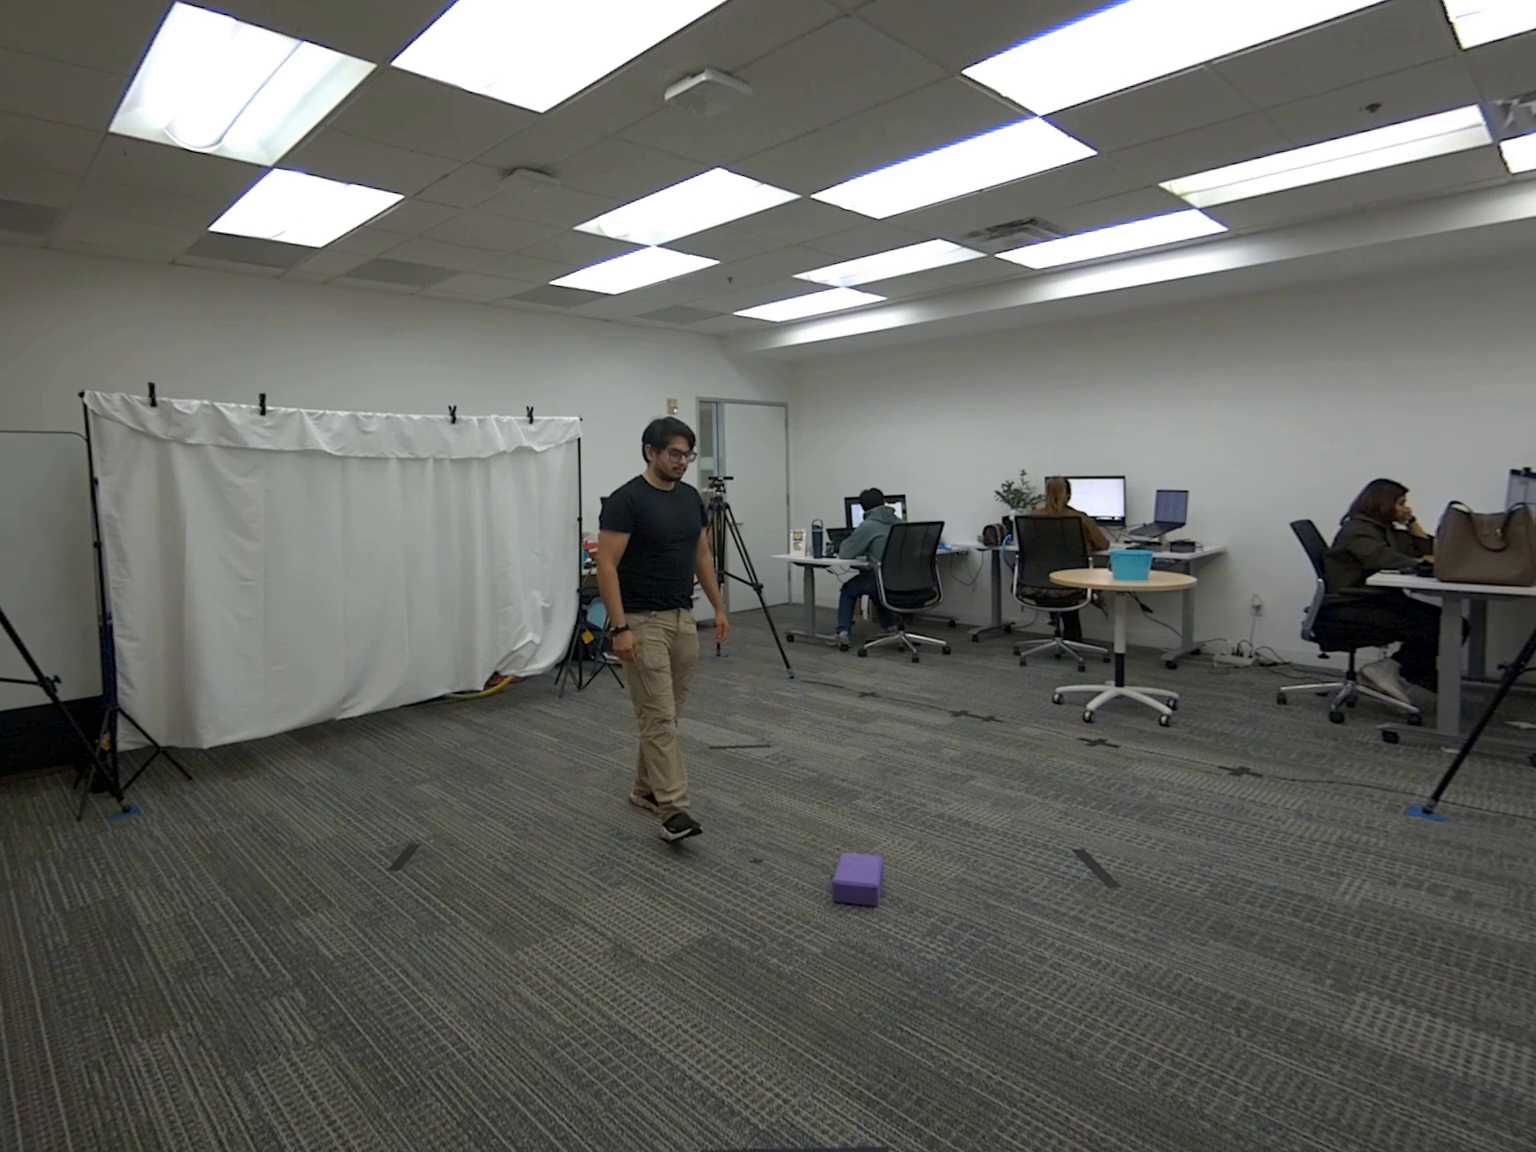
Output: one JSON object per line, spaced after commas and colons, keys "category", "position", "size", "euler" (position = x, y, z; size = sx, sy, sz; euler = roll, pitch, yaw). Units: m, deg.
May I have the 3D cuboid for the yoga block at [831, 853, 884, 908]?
{"category": "yoga block", "position": [0.308, 1.015, 2.874], "size": [0.151, 0.076, 0.227], "euler": [-1, 7, 14]}
